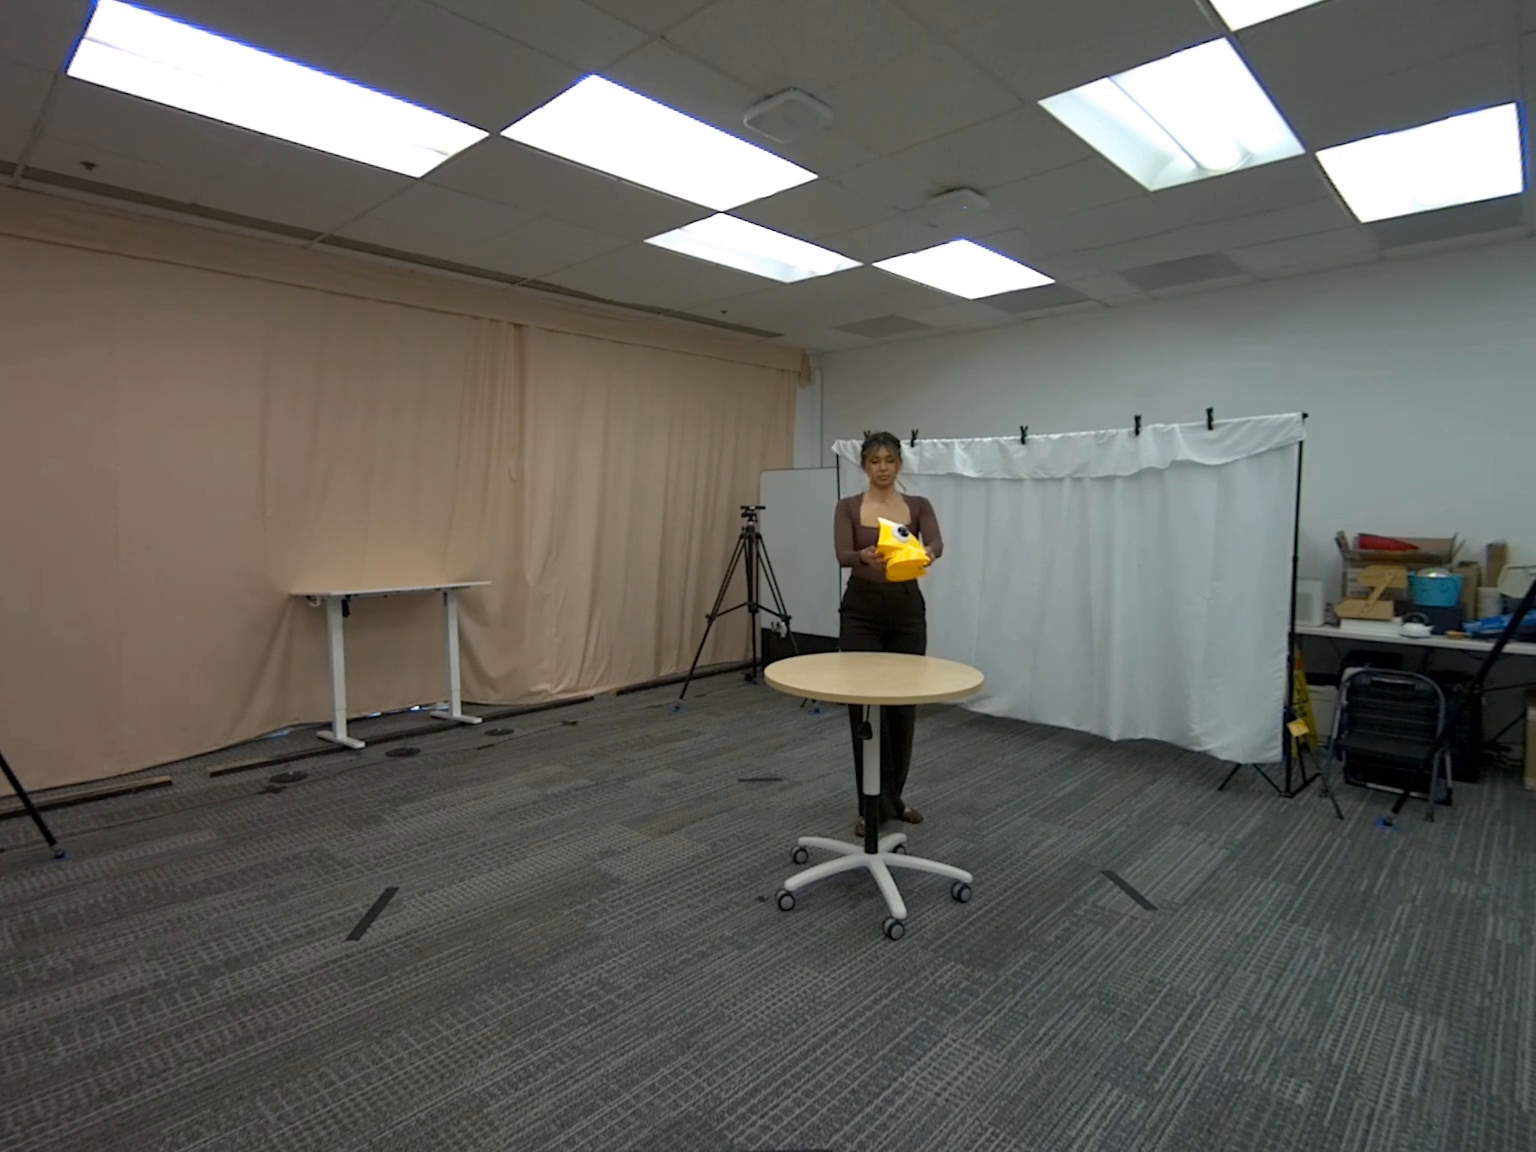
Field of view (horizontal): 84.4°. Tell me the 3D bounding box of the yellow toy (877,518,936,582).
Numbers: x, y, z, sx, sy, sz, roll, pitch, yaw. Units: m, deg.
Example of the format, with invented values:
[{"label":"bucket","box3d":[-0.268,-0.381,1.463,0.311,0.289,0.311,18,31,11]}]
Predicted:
[{"label":"yellow toy","box3d":[0.503,-0.127,3.202,0.194,0.234,0.201,-9,-23,3]}]
